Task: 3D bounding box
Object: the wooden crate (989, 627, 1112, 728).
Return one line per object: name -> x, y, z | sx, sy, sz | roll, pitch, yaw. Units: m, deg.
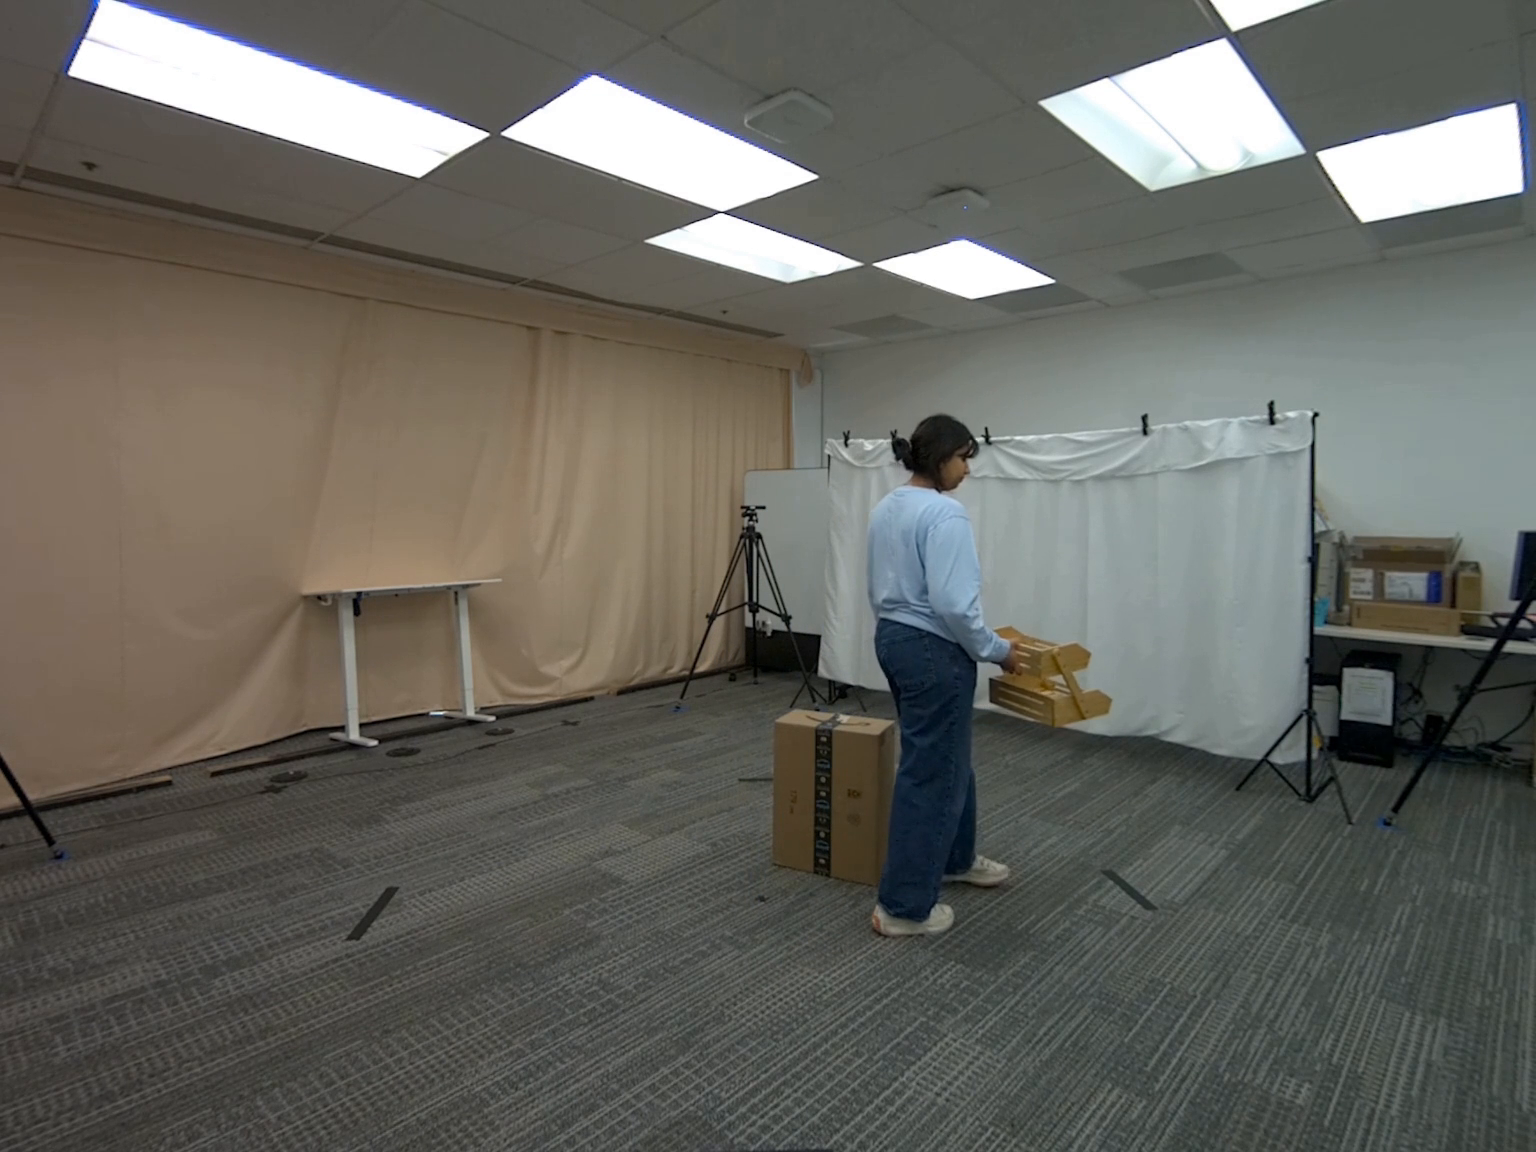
wooden crate -> 0.932, 0.319, 2.816 | 0.296, 0.271, 0.333 | -8, 10, -24
